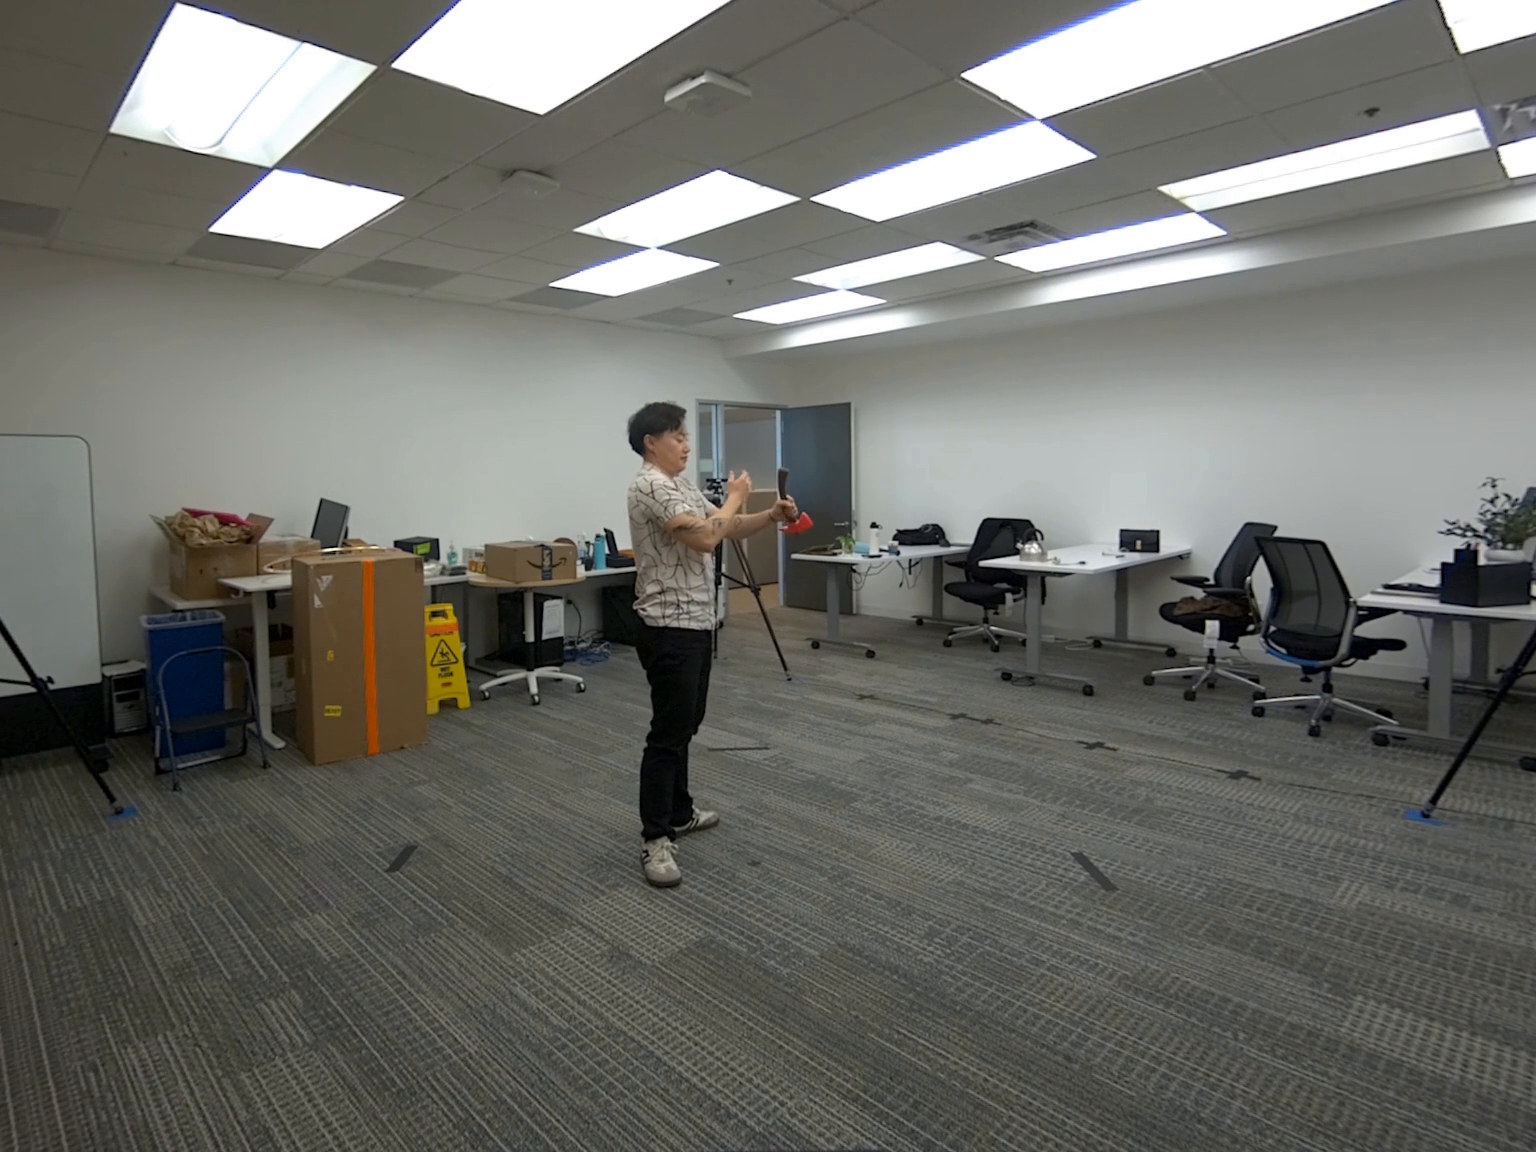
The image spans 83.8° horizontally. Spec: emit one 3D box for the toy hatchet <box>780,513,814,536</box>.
[{"bbox_3d":[0.089,-0.264,3.113,0.134,0.263,0.030,8,33,19],"label":"toy hatchet"}]
